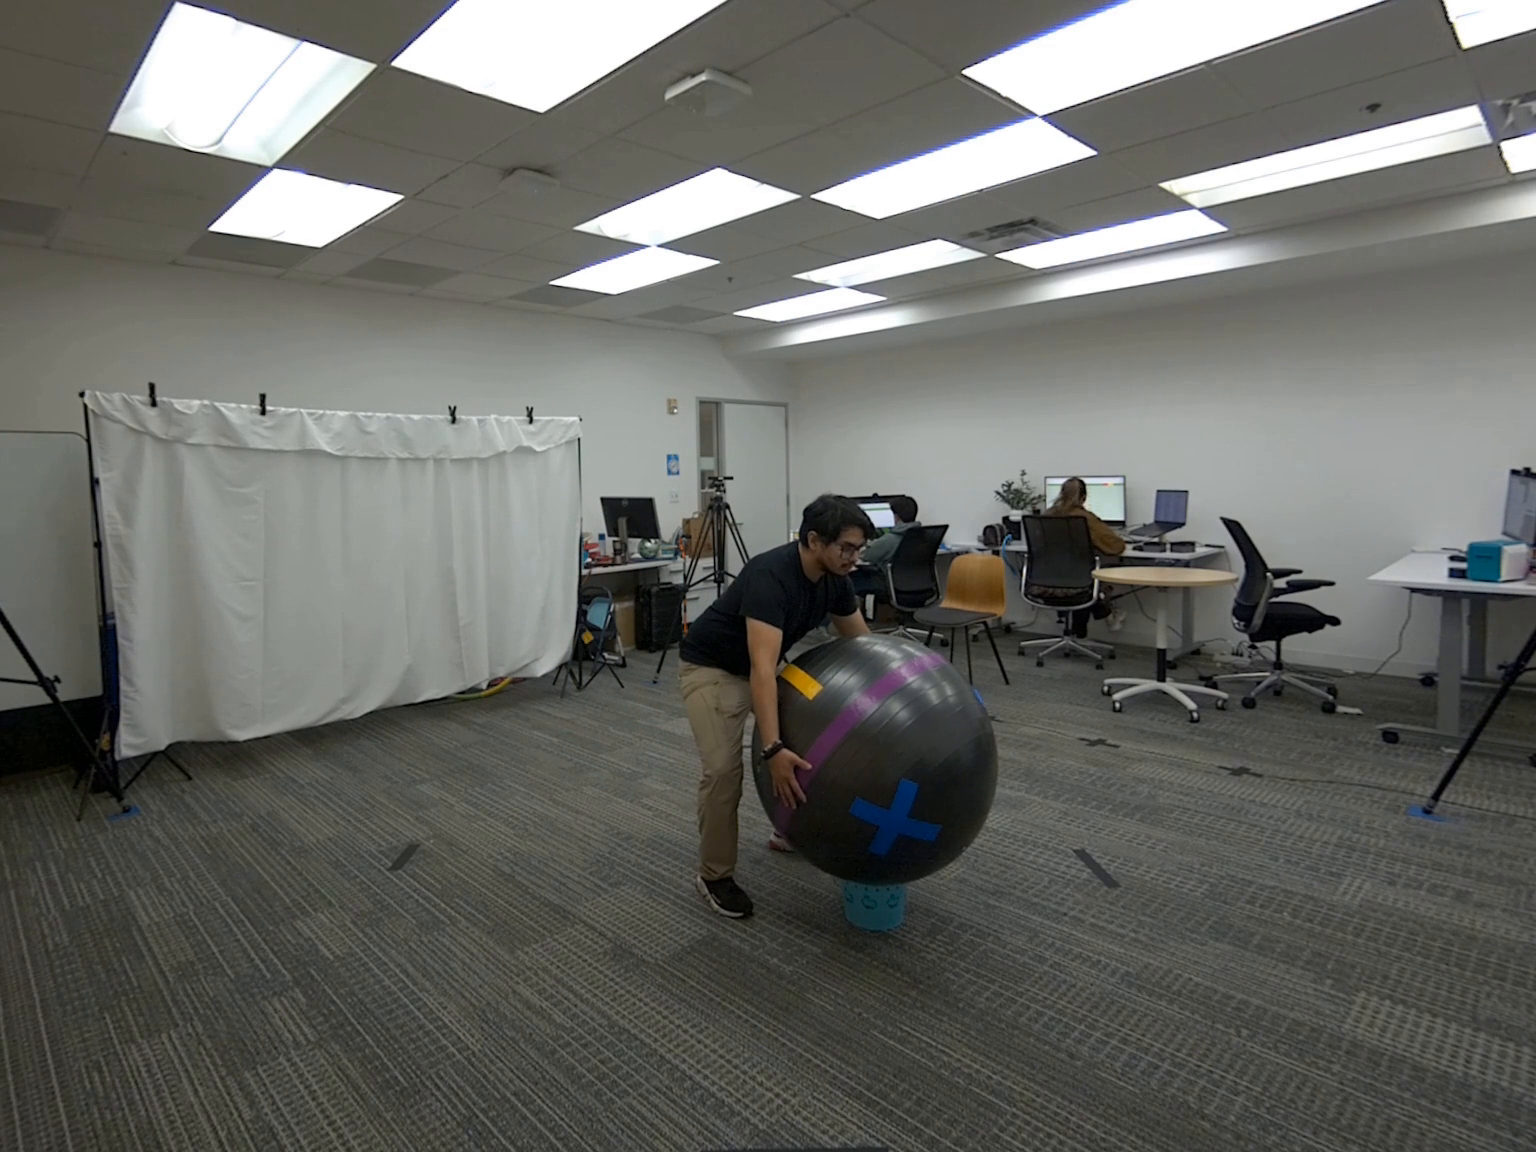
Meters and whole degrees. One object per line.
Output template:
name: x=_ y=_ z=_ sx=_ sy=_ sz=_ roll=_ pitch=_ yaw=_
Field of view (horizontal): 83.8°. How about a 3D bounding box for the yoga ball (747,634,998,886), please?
yoga ball: x=0.334 y=0.565 z=2.665 sx=0.757 sy=0.755 sz=0.762 roll=-1 pitch=5 yaw=-2
